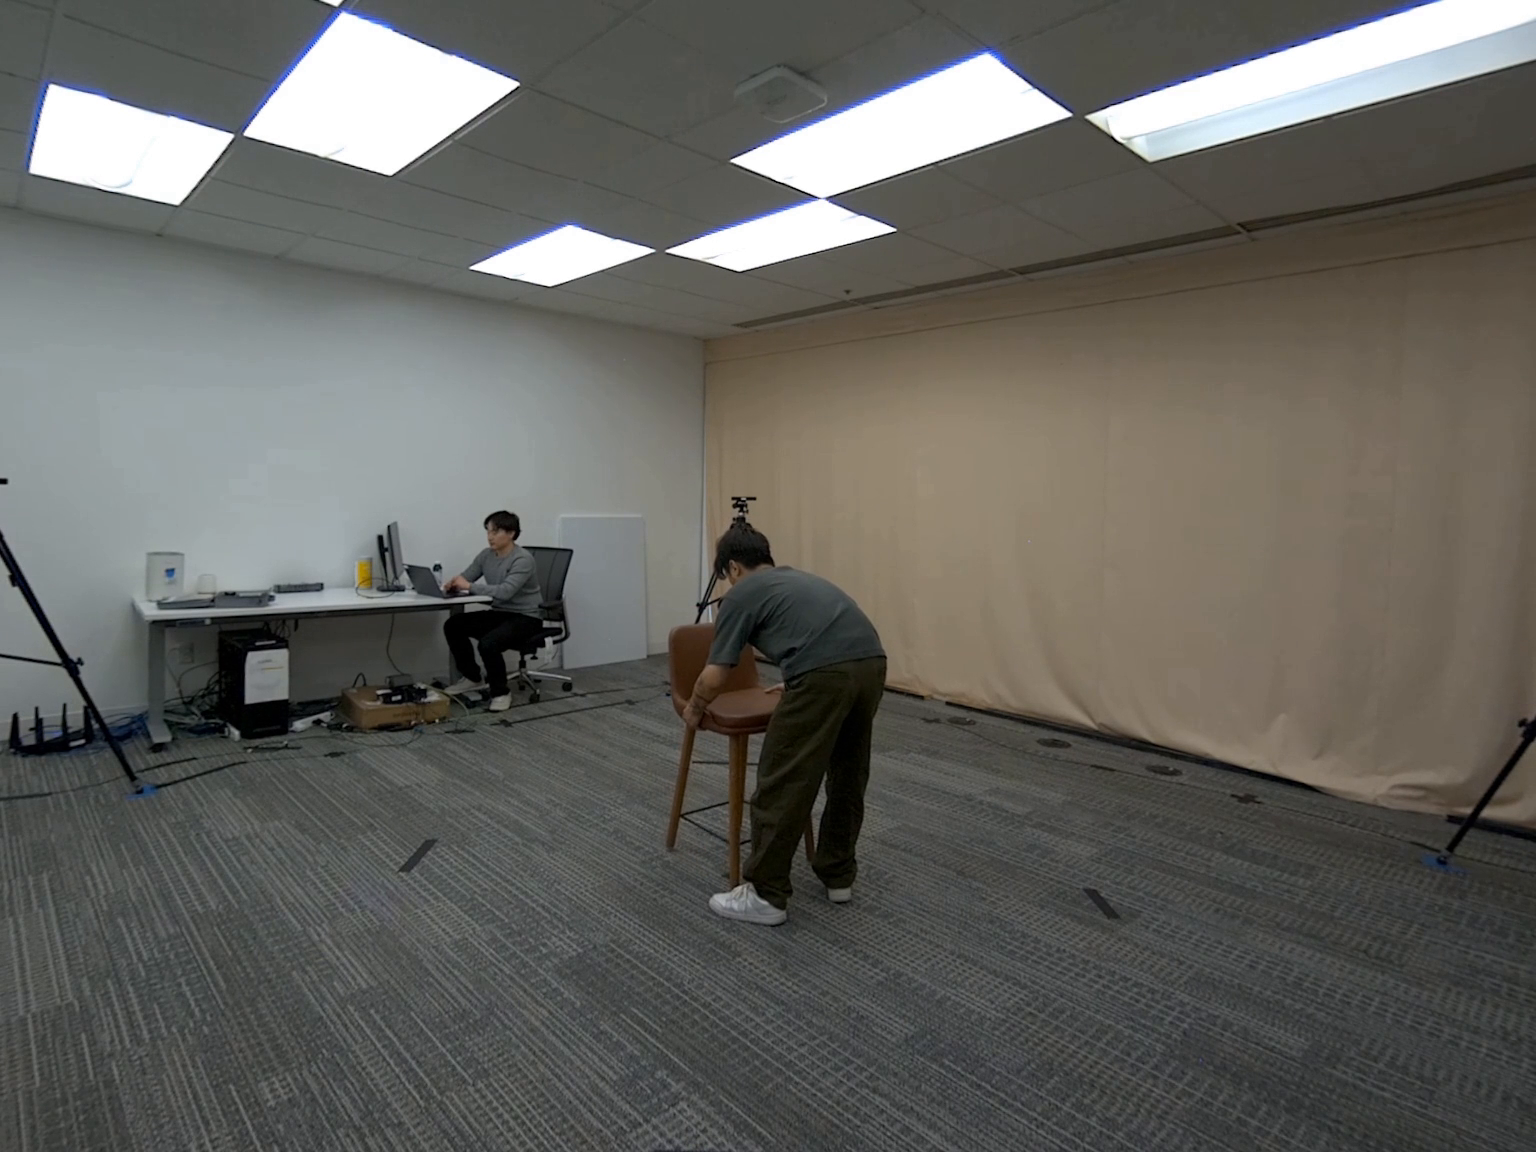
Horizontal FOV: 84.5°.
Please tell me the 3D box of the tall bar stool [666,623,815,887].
[{"bbox_3d":[-0.119,0.649,3.246,0.446,0.889,0.479,-1,2,-40],"label":"tall bar stool"}]
